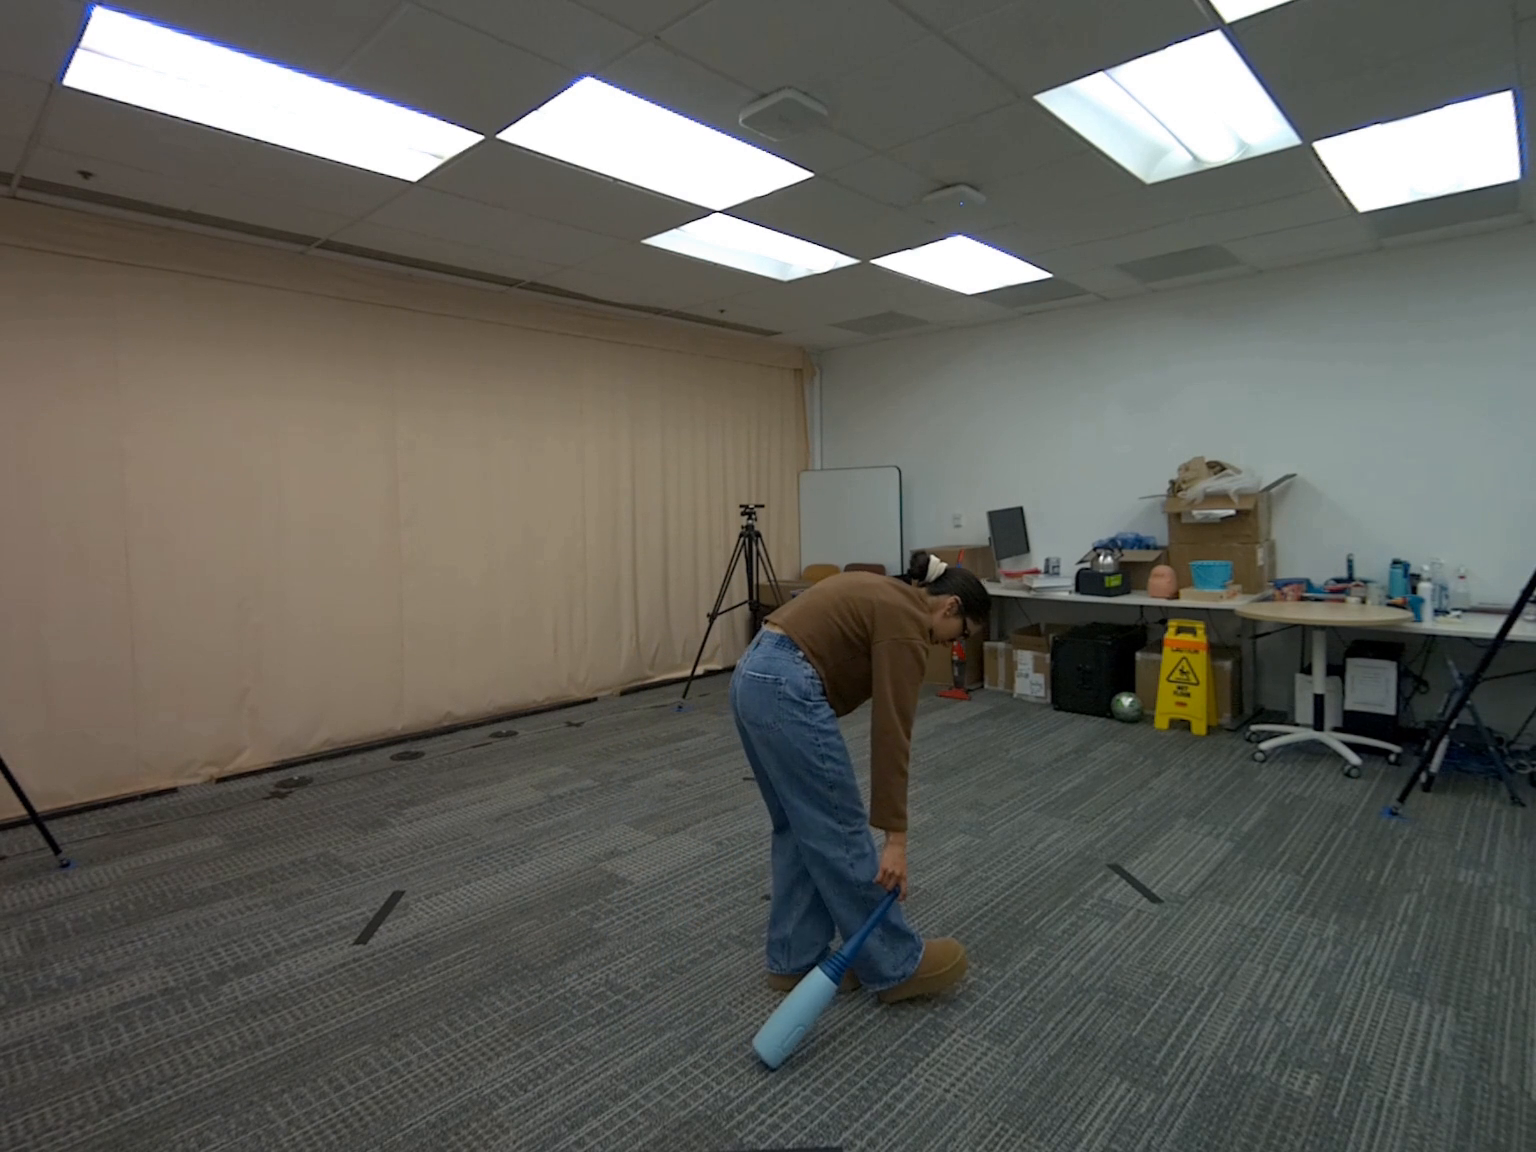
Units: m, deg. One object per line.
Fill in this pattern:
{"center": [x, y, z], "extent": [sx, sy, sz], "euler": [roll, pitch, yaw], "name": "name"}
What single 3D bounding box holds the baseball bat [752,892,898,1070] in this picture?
{"center": [0.165, 0.999, 2.144], "extent": [0.541, 0.087, 0.091], "euler": [-46, 17, -12], "name": "baseball bat"}
